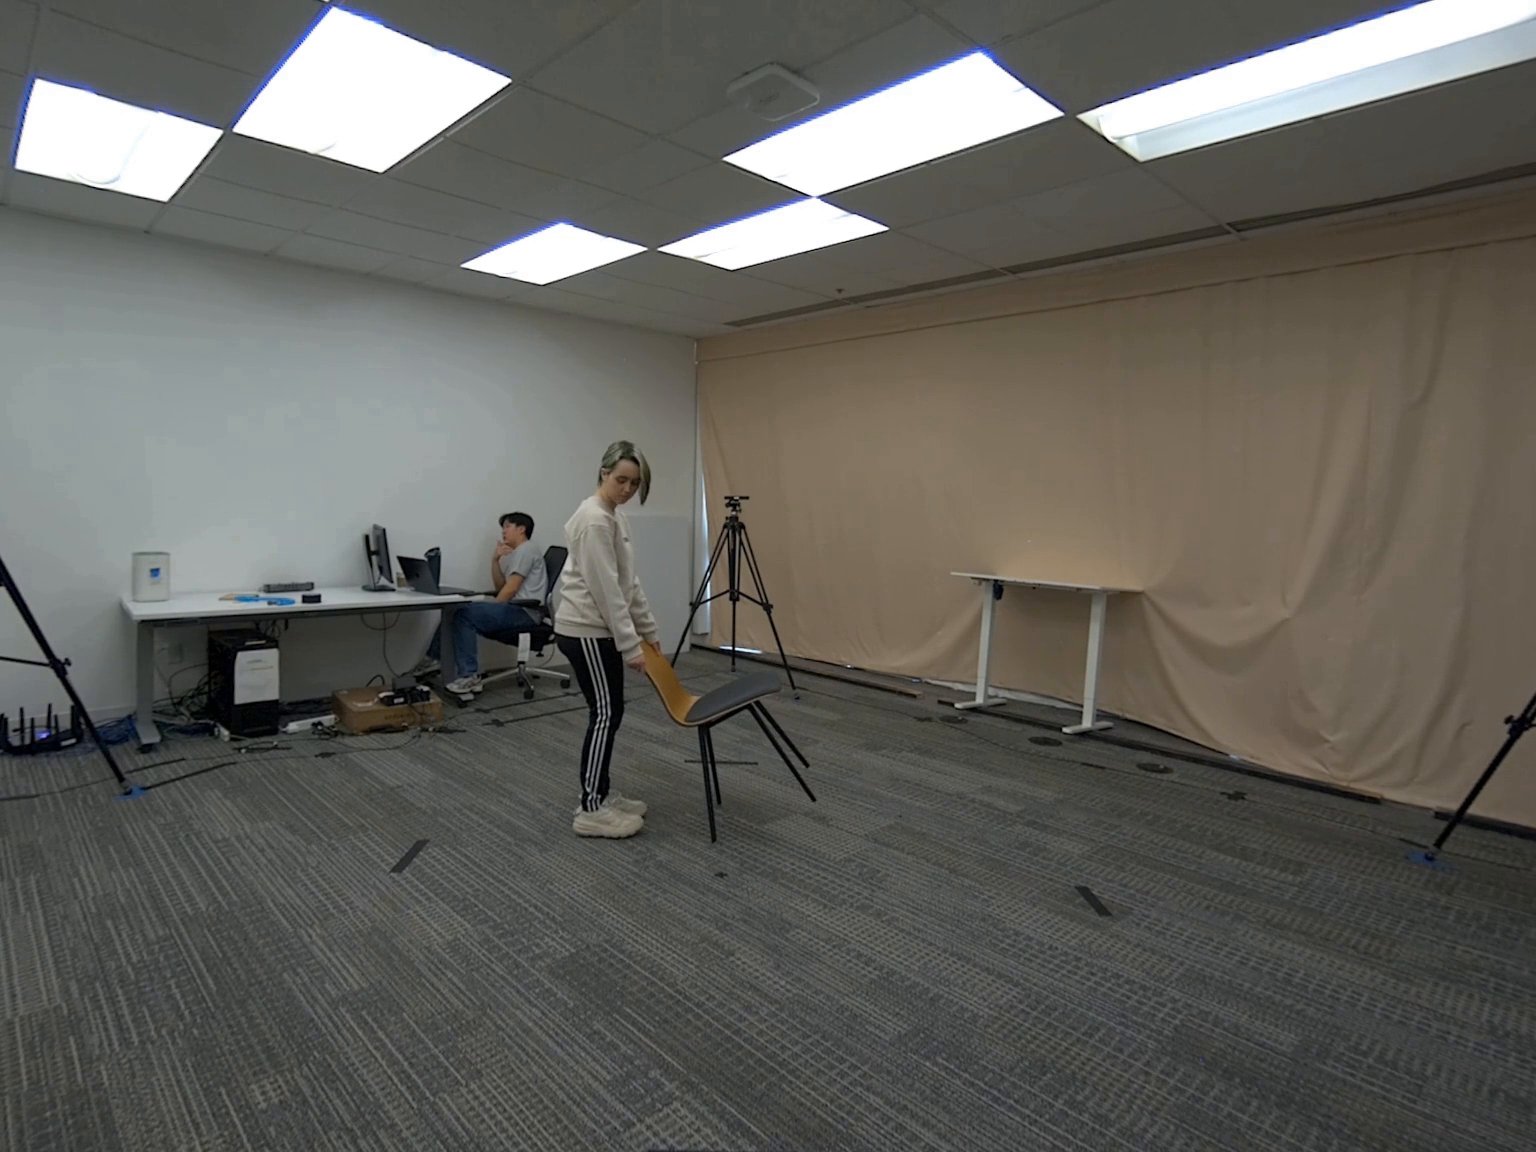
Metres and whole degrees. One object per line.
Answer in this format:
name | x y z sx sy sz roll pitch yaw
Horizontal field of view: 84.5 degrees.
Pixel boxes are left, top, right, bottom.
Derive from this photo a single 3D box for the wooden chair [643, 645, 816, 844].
wooden chair | -0.180 0.573 3.574 0.523 0.876 0.479 -28 2 2
